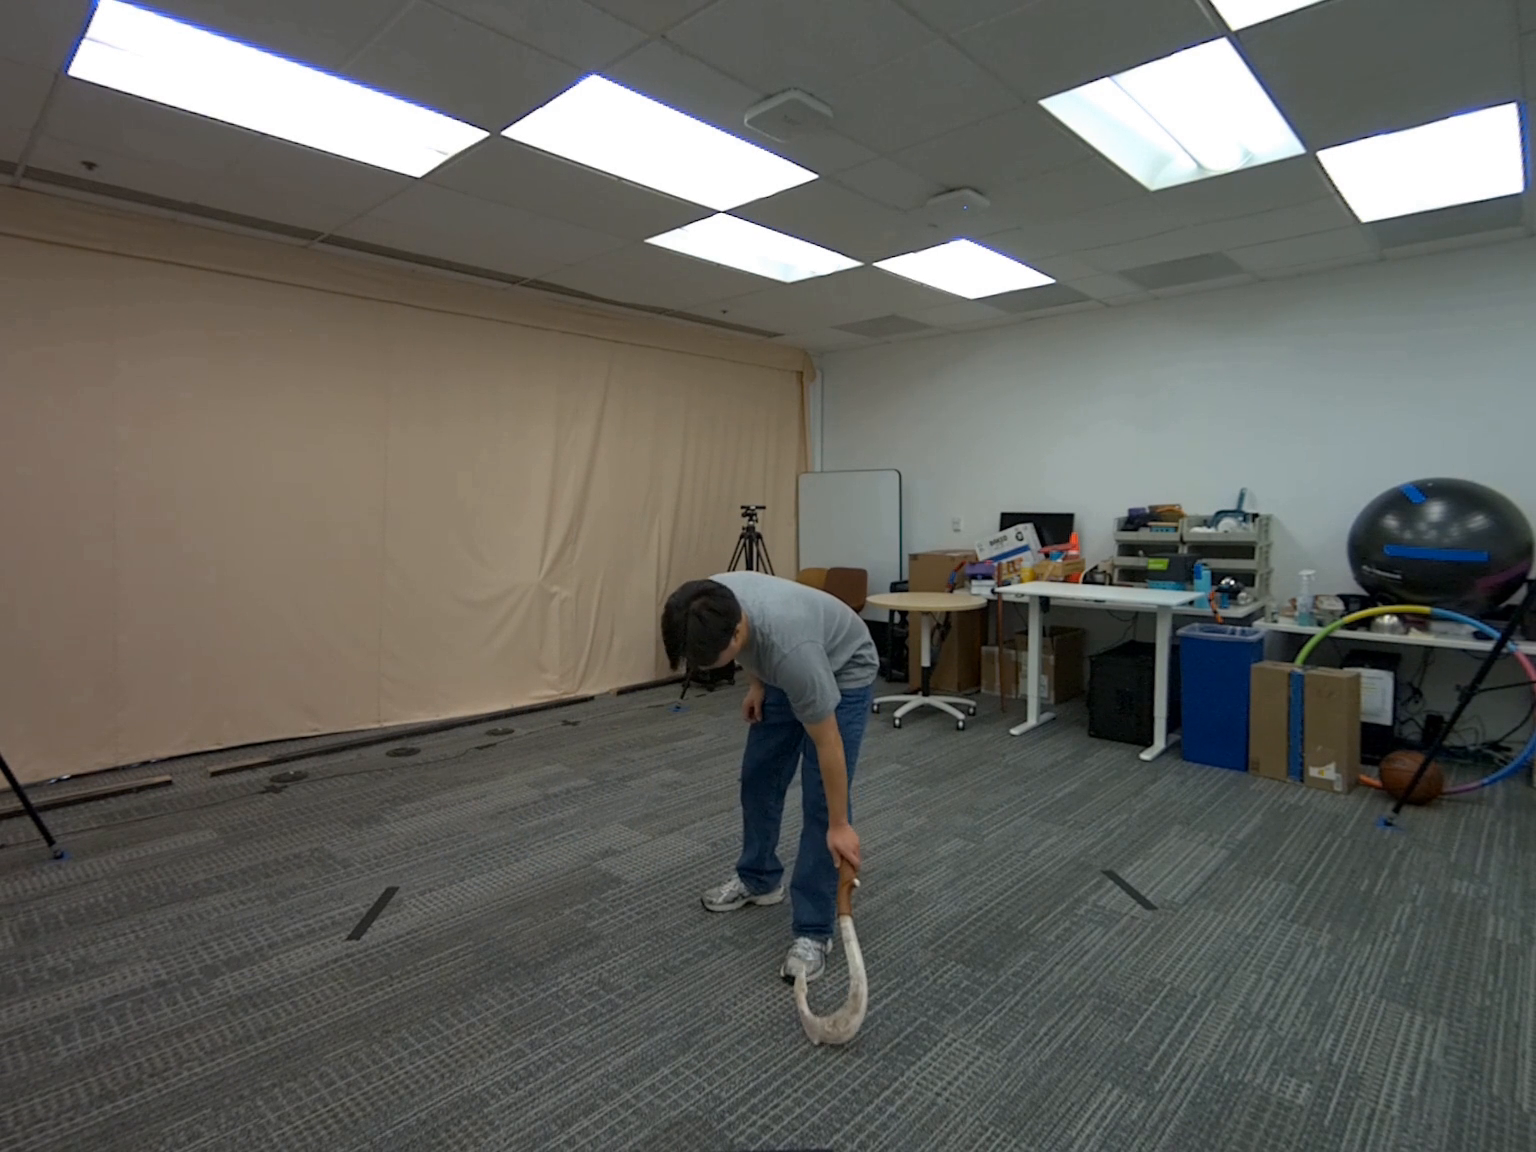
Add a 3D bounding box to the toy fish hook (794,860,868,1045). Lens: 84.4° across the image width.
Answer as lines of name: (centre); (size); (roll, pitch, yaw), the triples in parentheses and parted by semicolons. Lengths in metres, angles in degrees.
toy fish hook: (0.167, 0.998, 2.316); (0.229, 0.514, 0.047); (-21, -49, 27)
